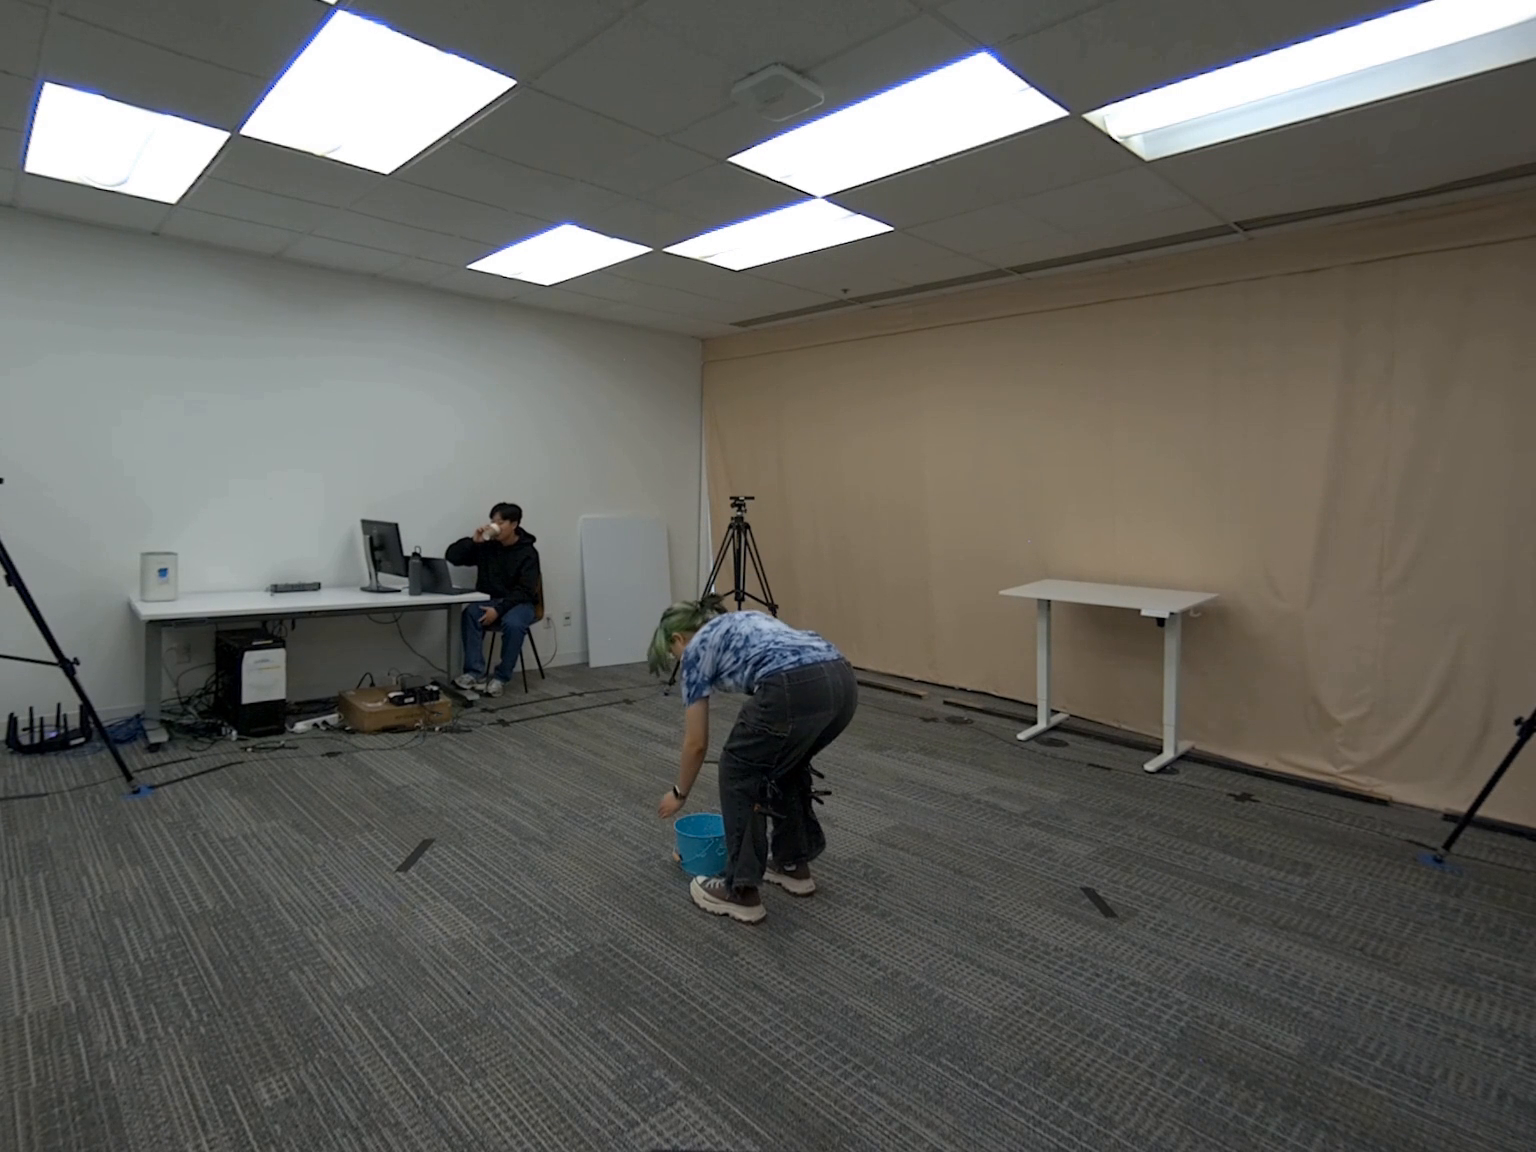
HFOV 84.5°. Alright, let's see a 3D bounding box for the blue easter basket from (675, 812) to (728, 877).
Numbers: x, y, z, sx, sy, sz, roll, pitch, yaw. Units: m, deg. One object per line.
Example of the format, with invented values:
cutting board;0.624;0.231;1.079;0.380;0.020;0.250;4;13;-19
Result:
blue easter basket;-0.246;1.017;3.183;0.243;0.155;0.244;1;5;-1
